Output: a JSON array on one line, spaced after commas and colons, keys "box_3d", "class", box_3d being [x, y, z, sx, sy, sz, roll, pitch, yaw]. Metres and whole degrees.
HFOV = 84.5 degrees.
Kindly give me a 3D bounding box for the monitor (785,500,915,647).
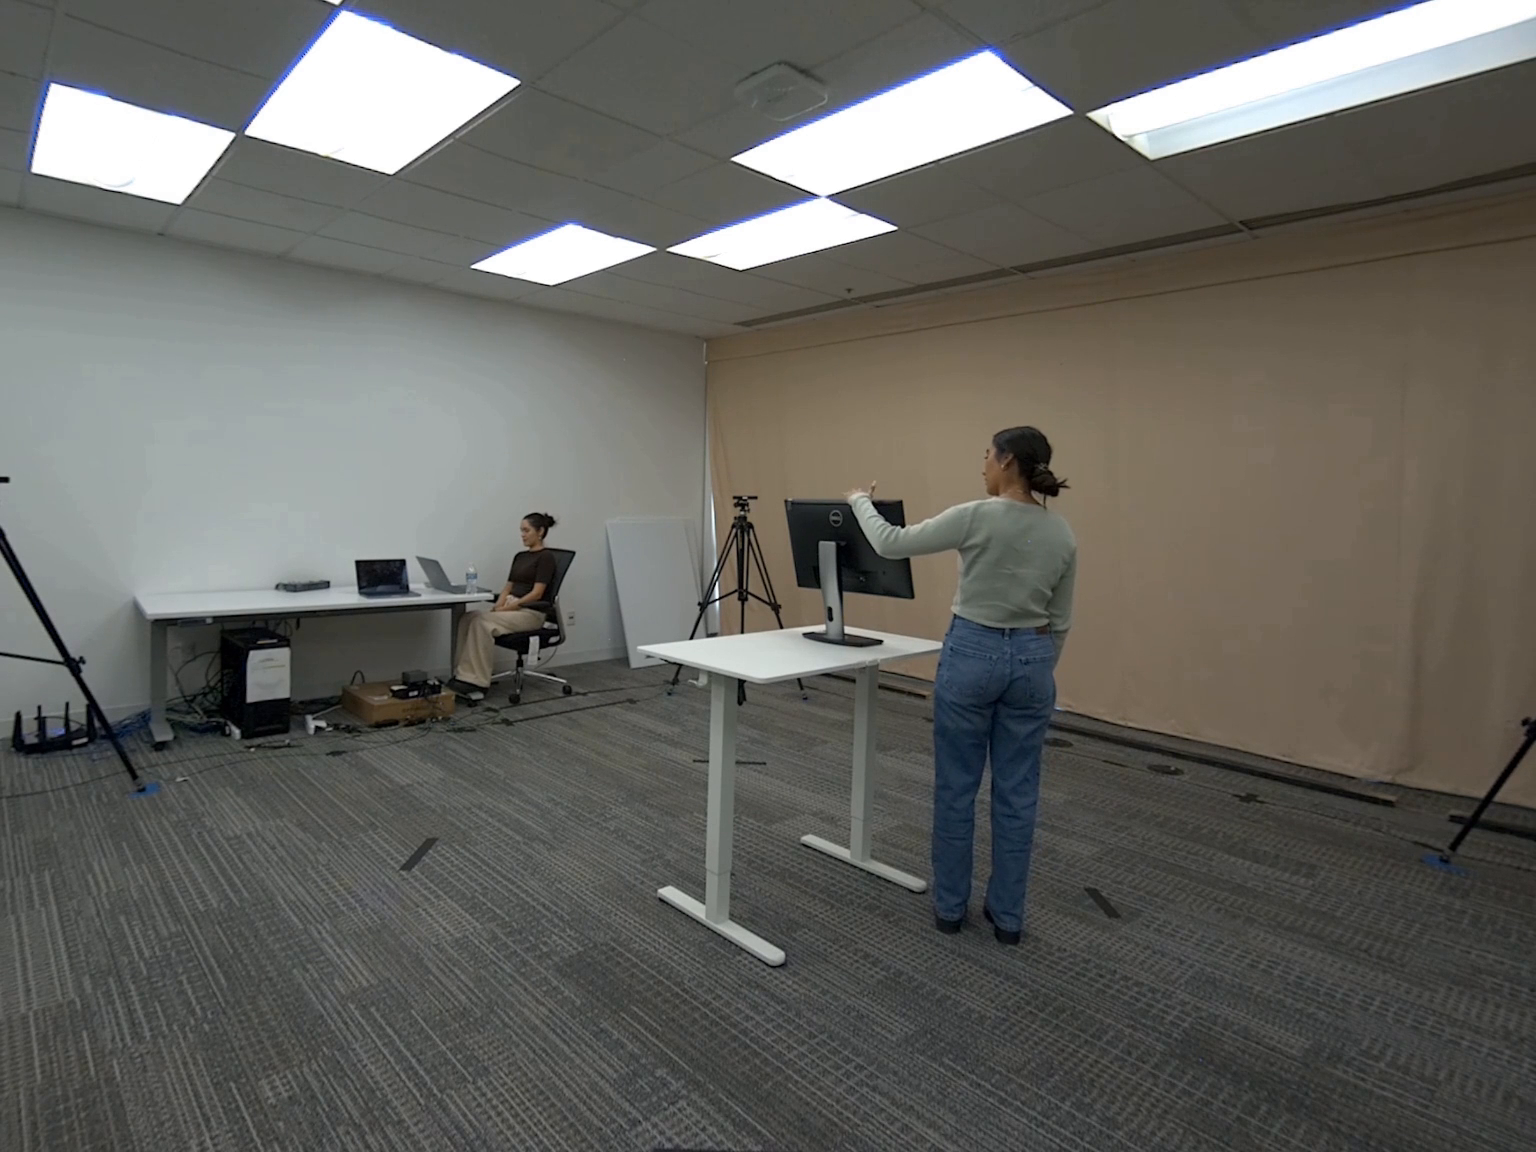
[{"box_3d": [0.257, -0.014, 3.042, 0.553, 0.521, 0.183, 5, 7, 44], "class": "monitor"}]
